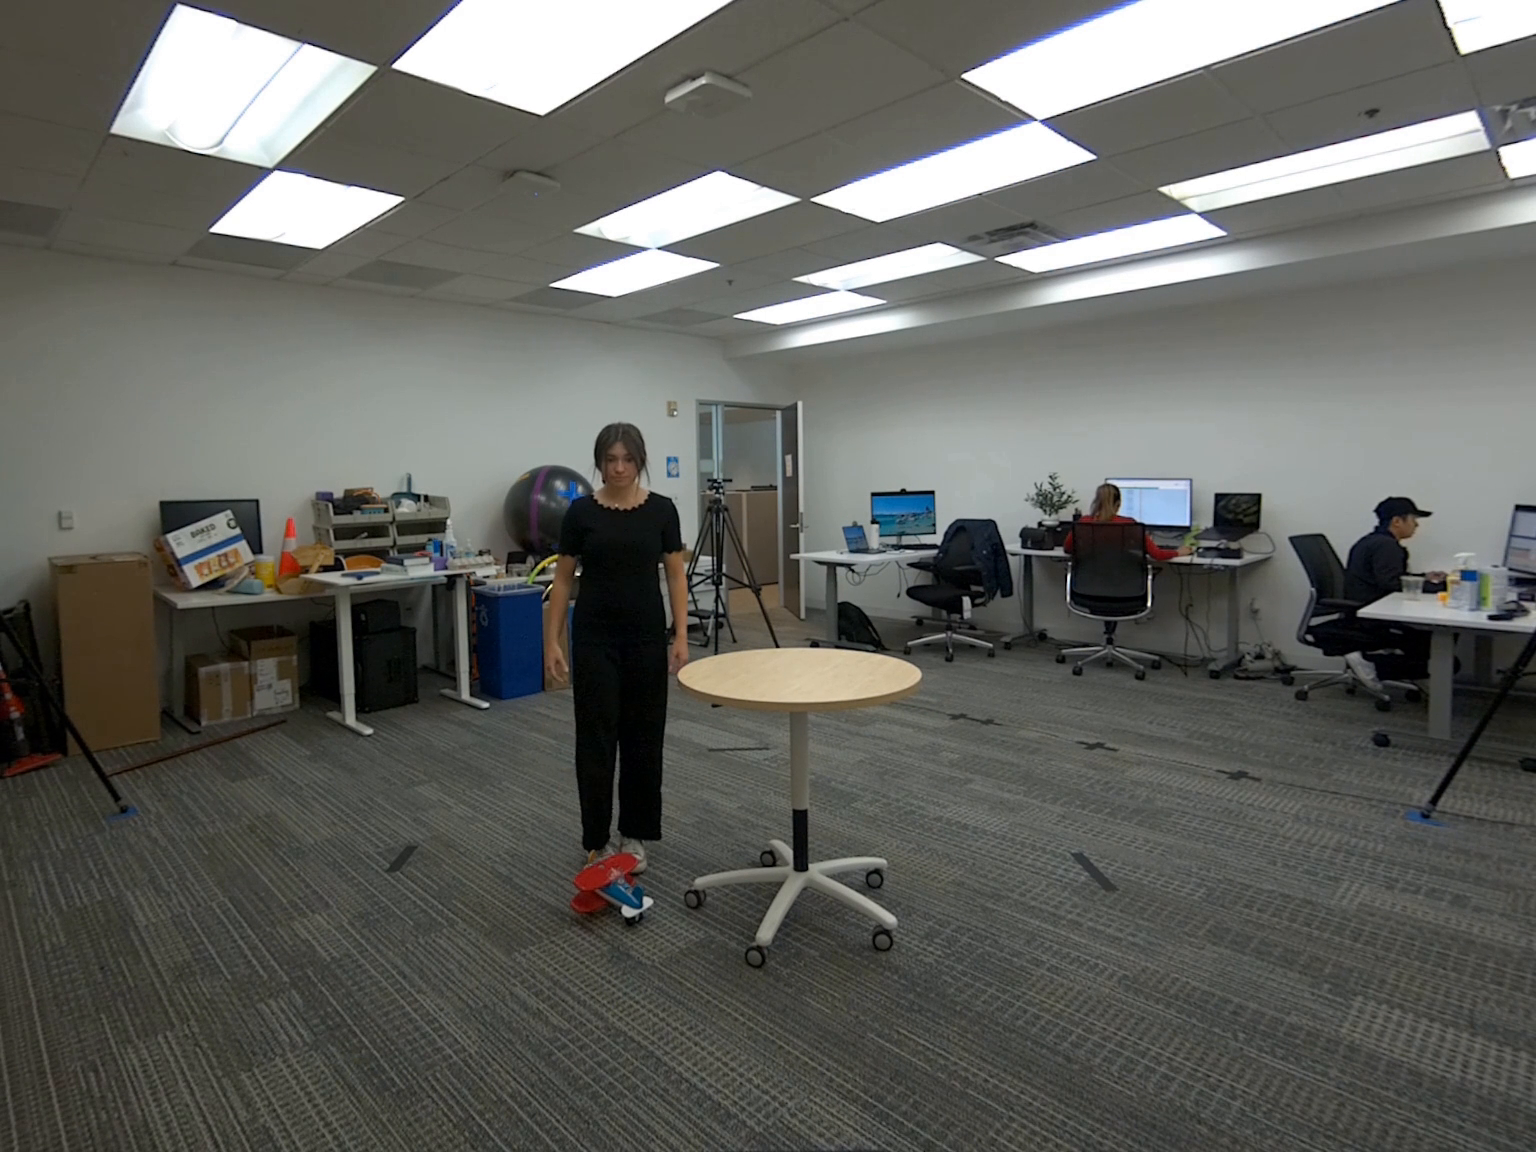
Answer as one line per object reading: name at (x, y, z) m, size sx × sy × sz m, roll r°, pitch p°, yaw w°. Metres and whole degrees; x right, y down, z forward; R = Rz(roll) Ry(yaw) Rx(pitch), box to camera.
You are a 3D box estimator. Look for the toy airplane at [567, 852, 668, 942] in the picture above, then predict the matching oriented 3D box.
toy airplane at (-0.482, 1.027, 2.771) m, size 0.261 × 0.155 × 0.251 m, roll -1°, pitch 8°, yaw 7°
